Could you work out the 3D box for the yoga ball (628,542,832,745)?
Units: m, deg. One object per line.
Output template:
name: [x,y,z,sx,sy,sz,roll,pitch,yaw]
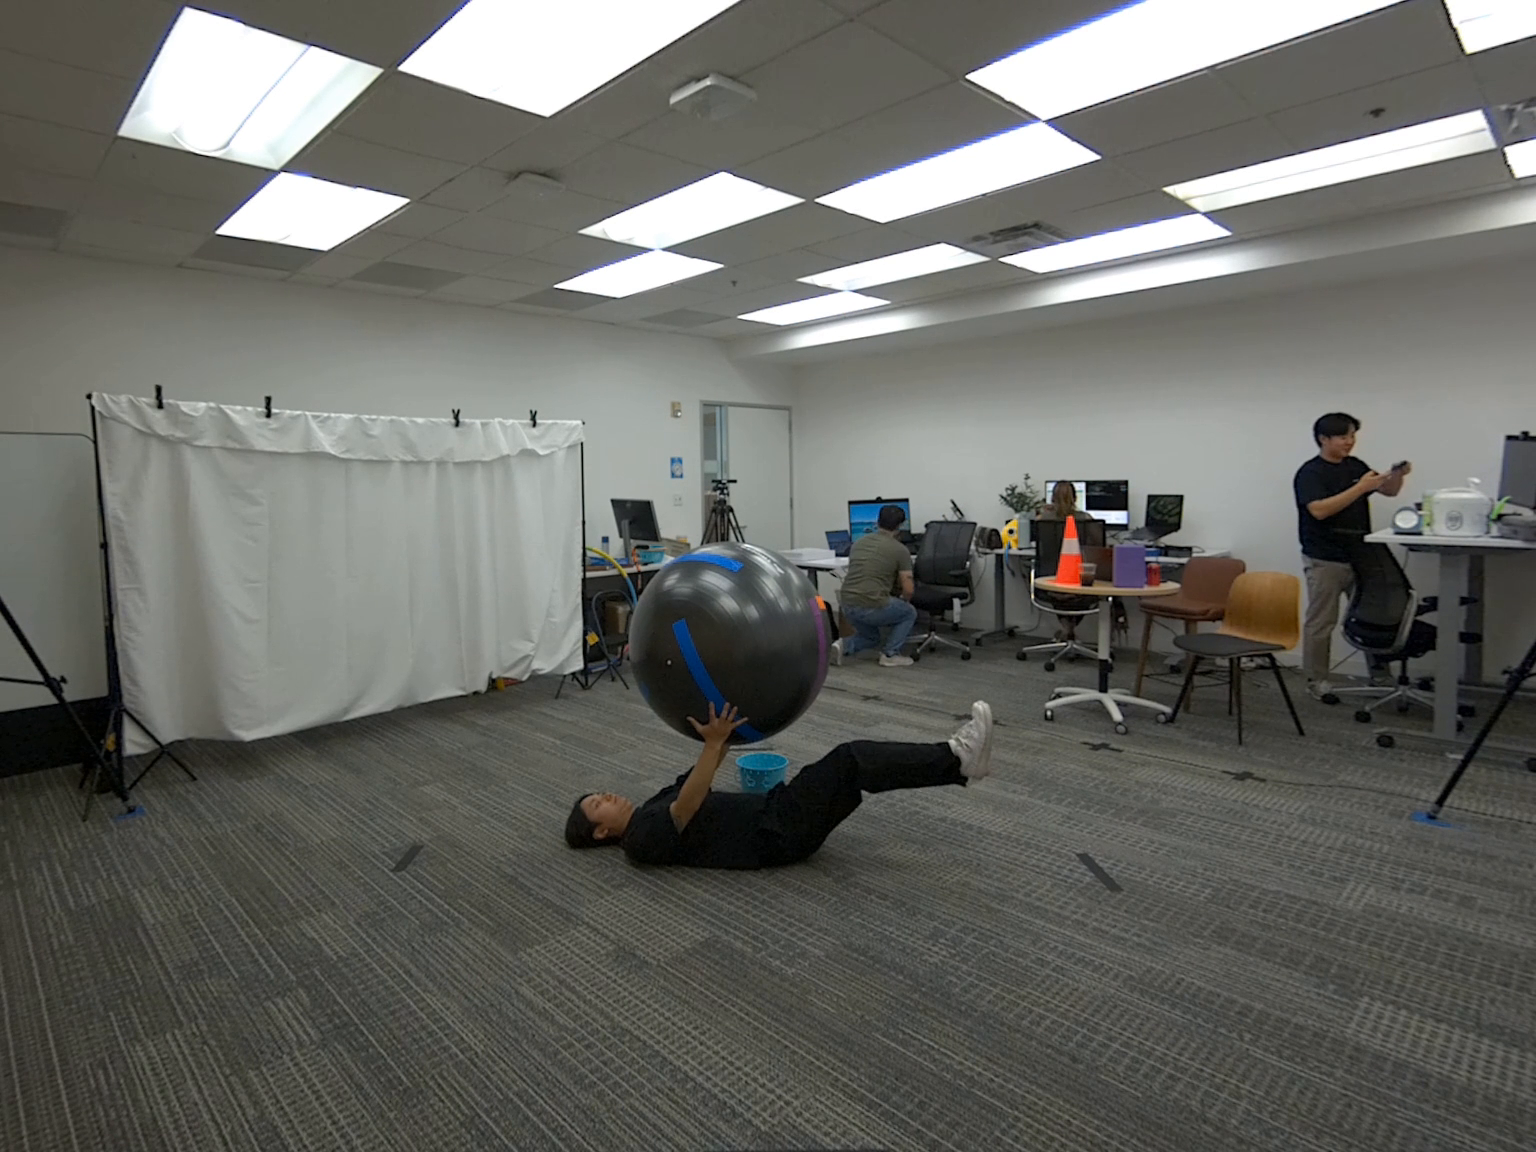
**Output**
yoga ball: [-0.147,0.257,3.213,0.757,0.755,0.762,-1,5,-2]
